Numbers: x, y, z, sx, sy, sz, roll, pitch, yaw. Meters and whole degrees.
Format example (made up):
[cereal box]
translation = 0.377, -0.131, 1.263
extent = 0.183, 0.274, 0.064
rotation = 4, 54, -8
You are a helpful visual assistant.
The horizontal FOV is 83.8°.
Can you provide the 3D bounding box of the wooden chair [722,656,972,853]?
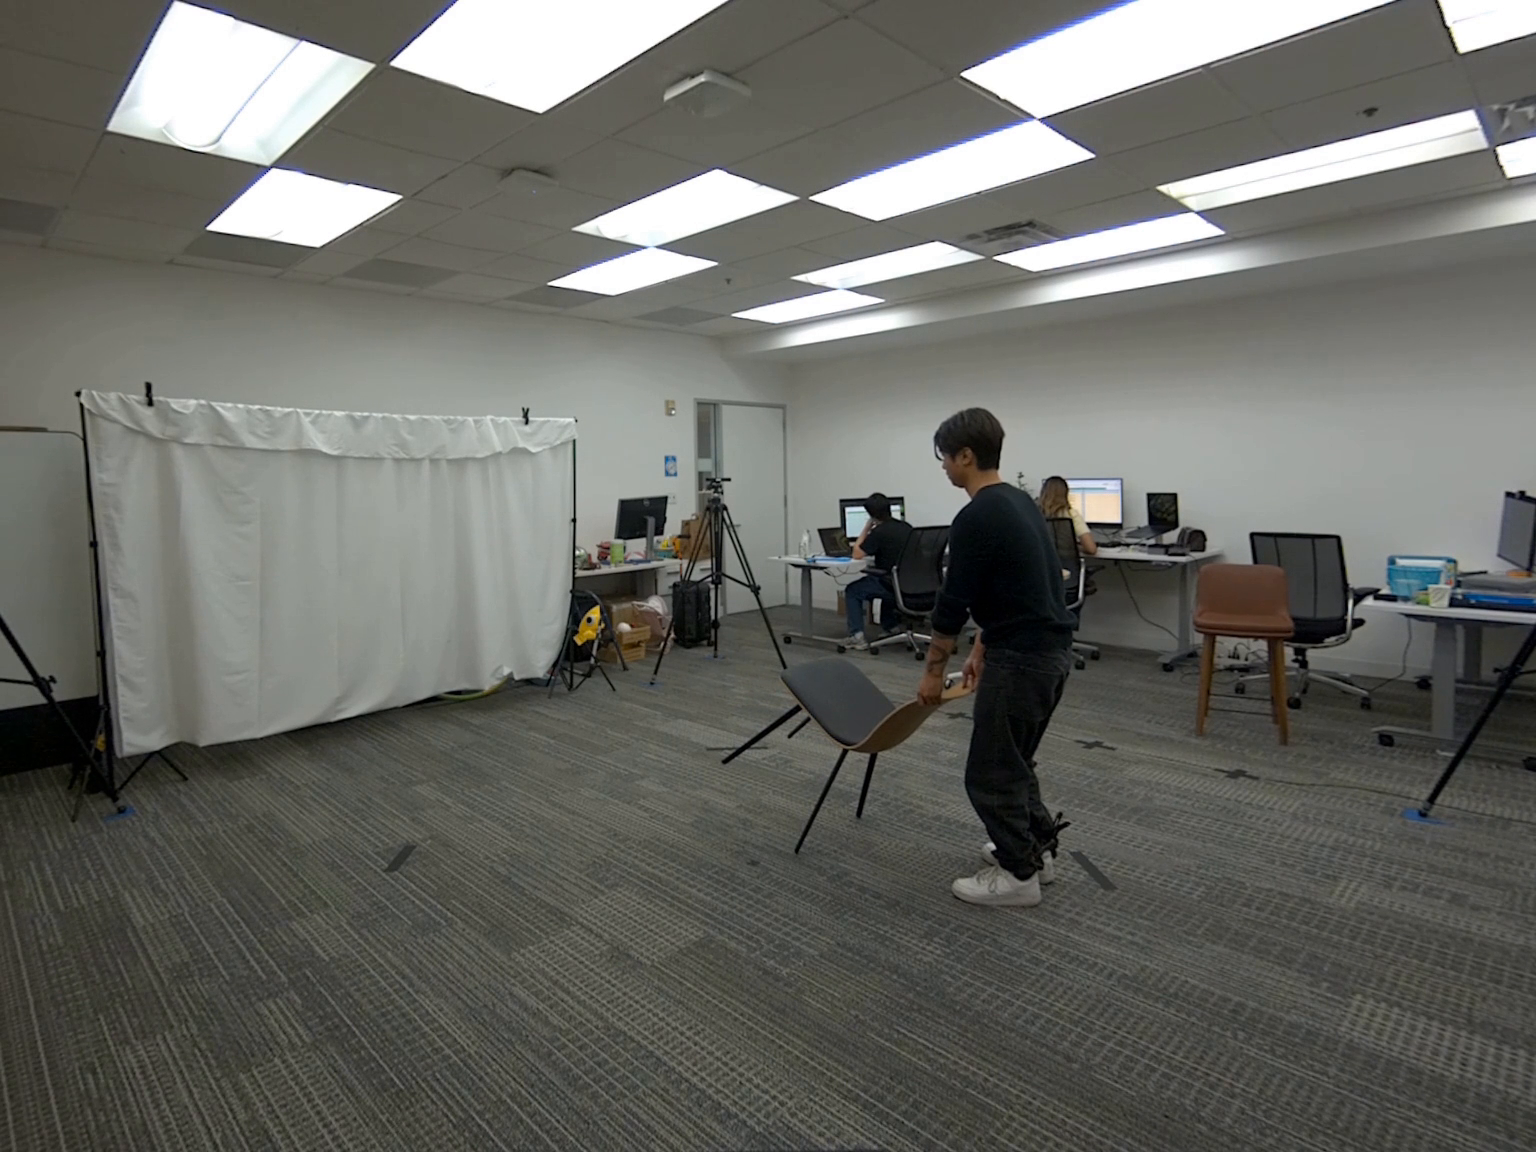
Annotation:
[wooden chair]
translation = 0.287, 0.537, 3.265
extent = 0.465, 0.873, 0.540
rotation = -5, 49, -50
